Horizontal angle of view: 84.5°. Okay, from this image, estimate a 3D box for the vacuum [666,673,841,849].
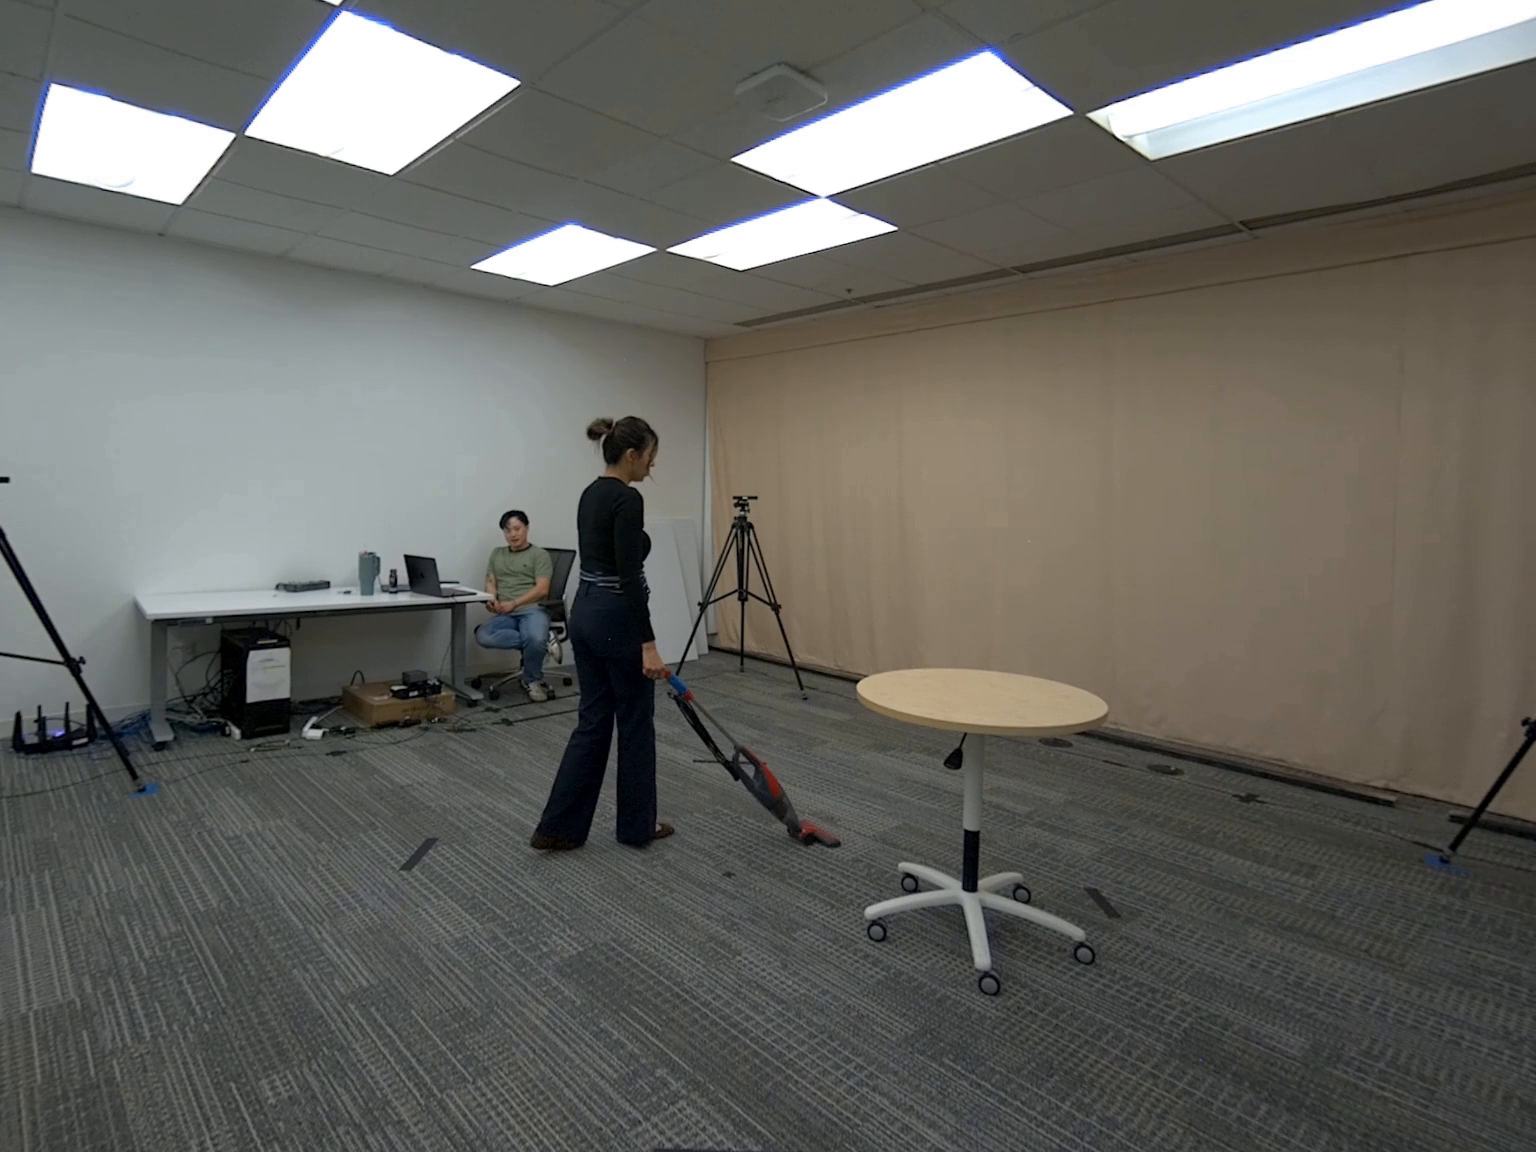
[{"bbox_3d":[-0.134,0.715,3.288,1.026,0.144,0.258,48,-22,-22],"label":"vacuum"}]
